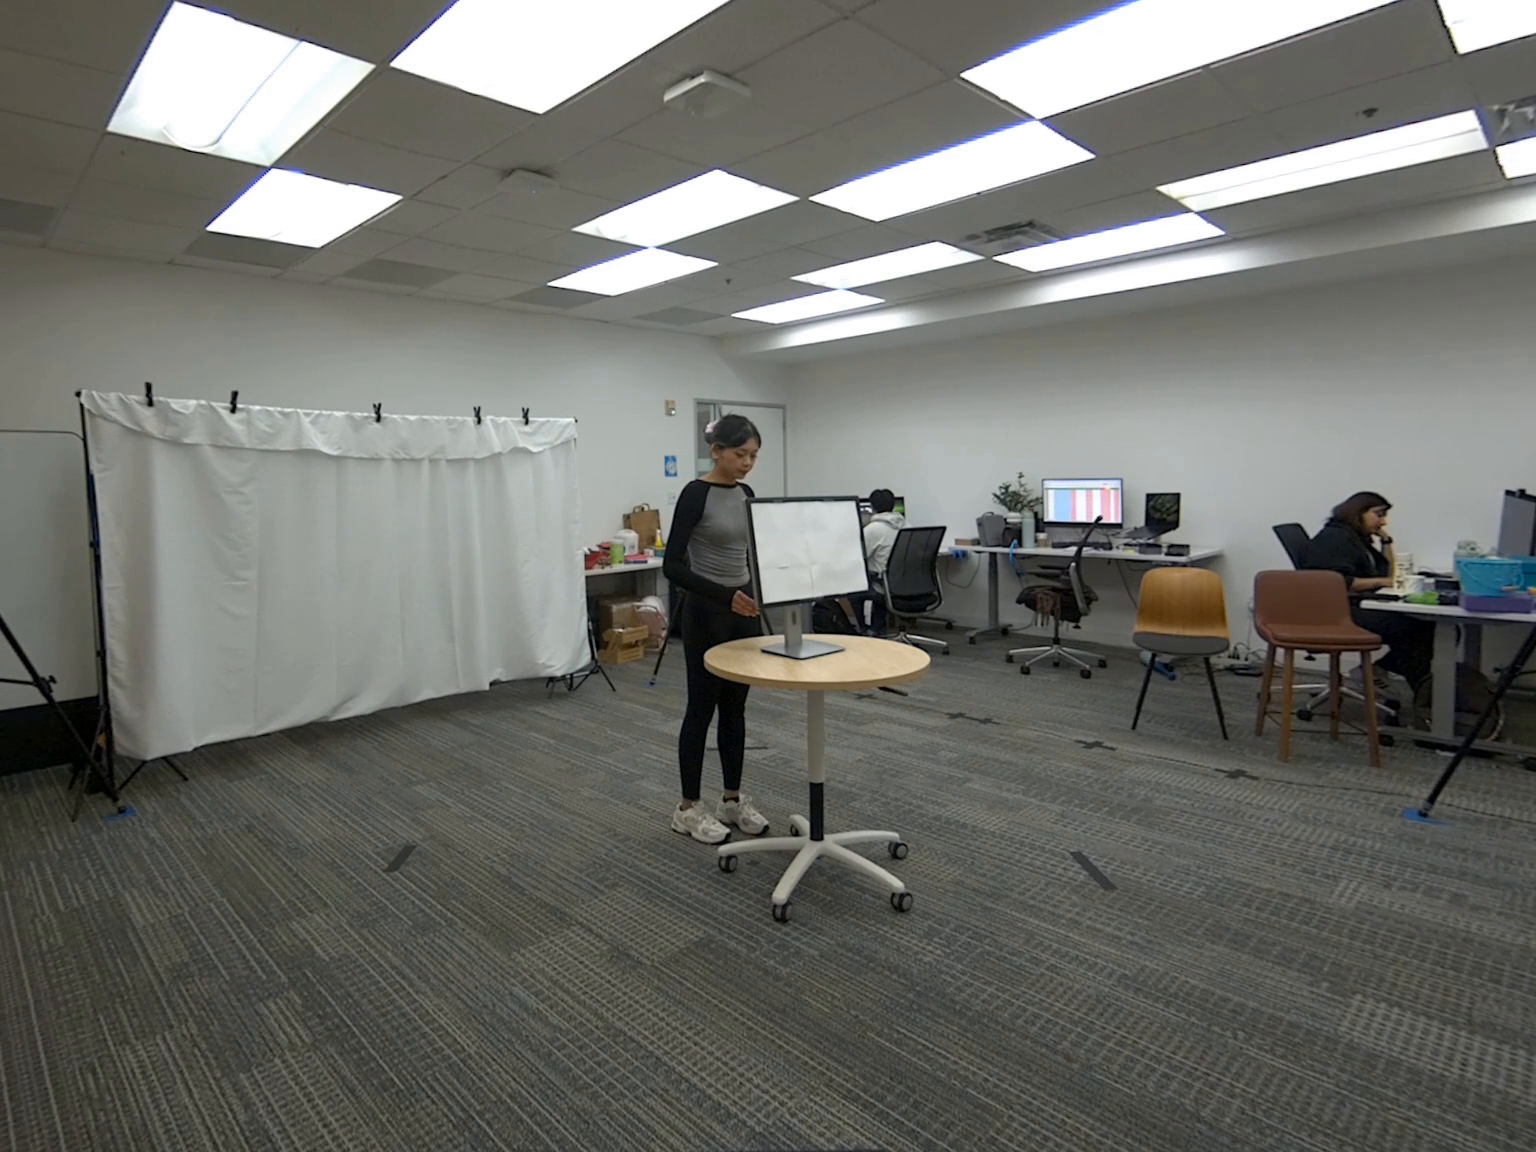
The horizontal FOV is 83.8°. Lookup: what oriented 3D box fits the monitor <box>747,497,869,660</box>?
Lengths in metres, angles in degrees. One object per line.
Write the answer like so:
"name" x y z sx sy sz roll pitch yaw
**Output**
"monitor" 0.121 -0.002 2.985 0.525 0.520 0.193 -5 8 -45
